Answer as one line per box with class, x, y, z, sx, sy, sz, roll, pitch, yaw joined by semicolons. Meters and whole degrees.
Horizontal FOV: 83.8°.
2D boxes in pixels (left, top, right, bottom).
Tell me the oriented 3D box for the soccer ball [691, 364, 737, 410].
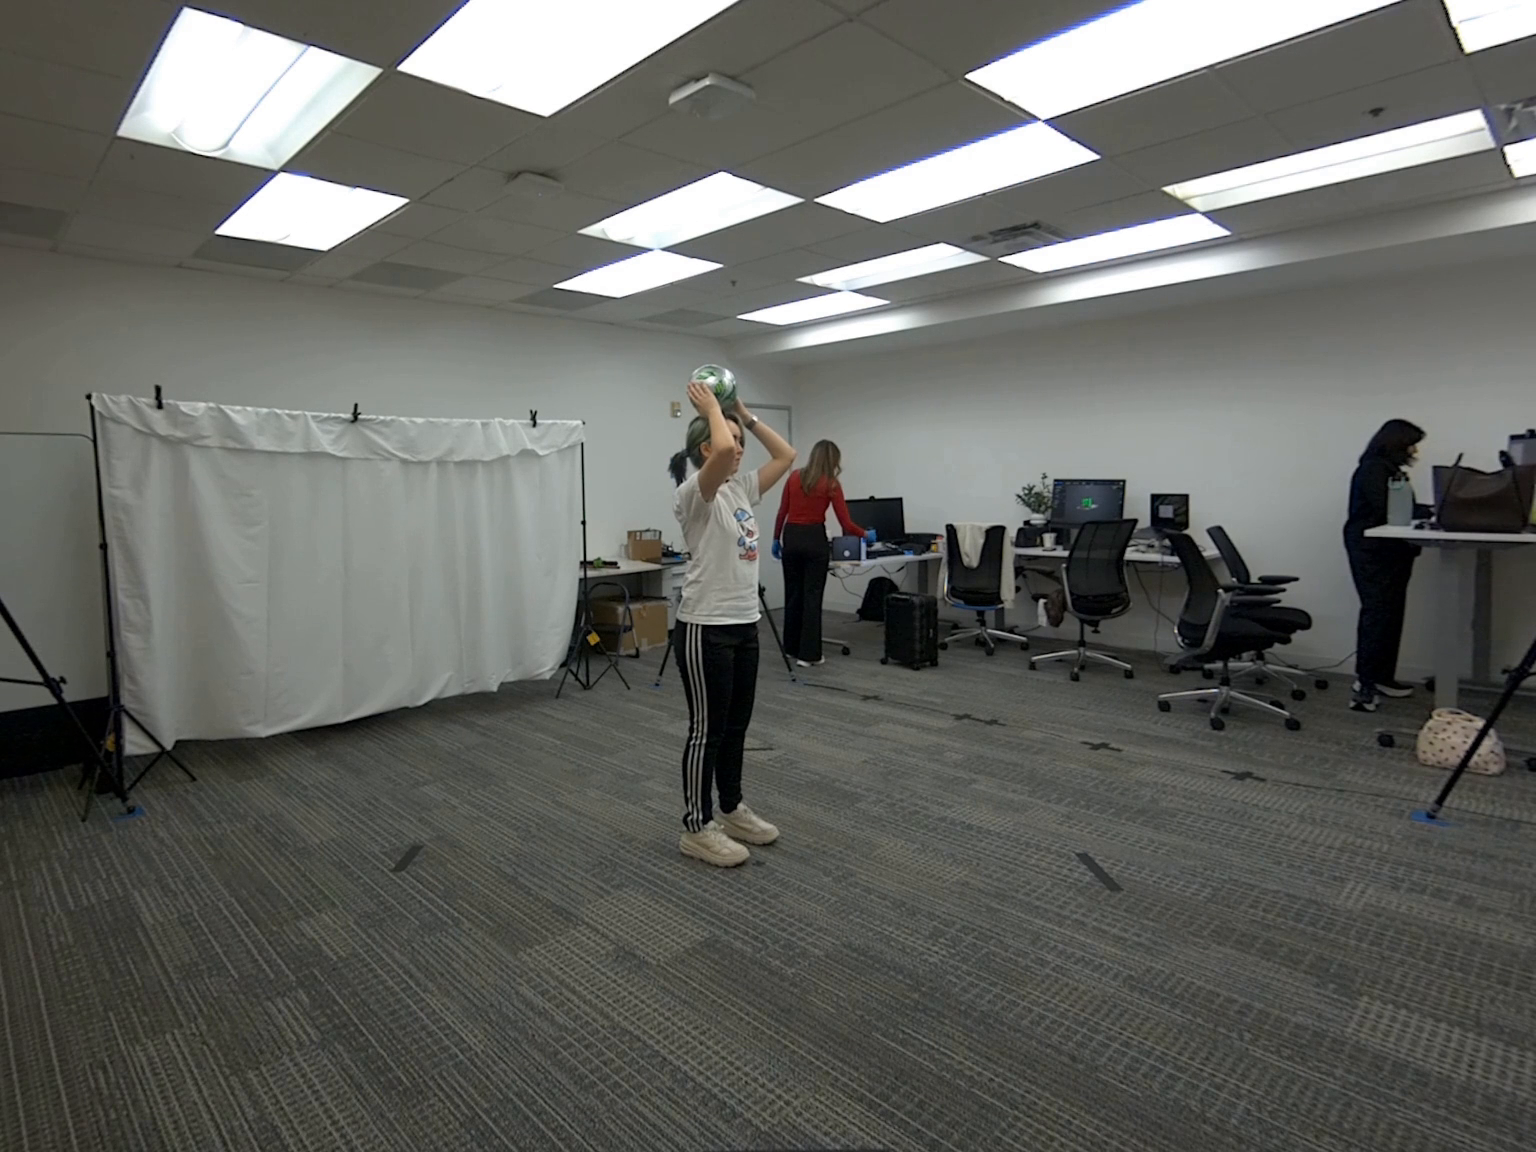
soccer ball;-0.206;-0.690;3.178;0.187;0.187;0.188;-1;5;-2
